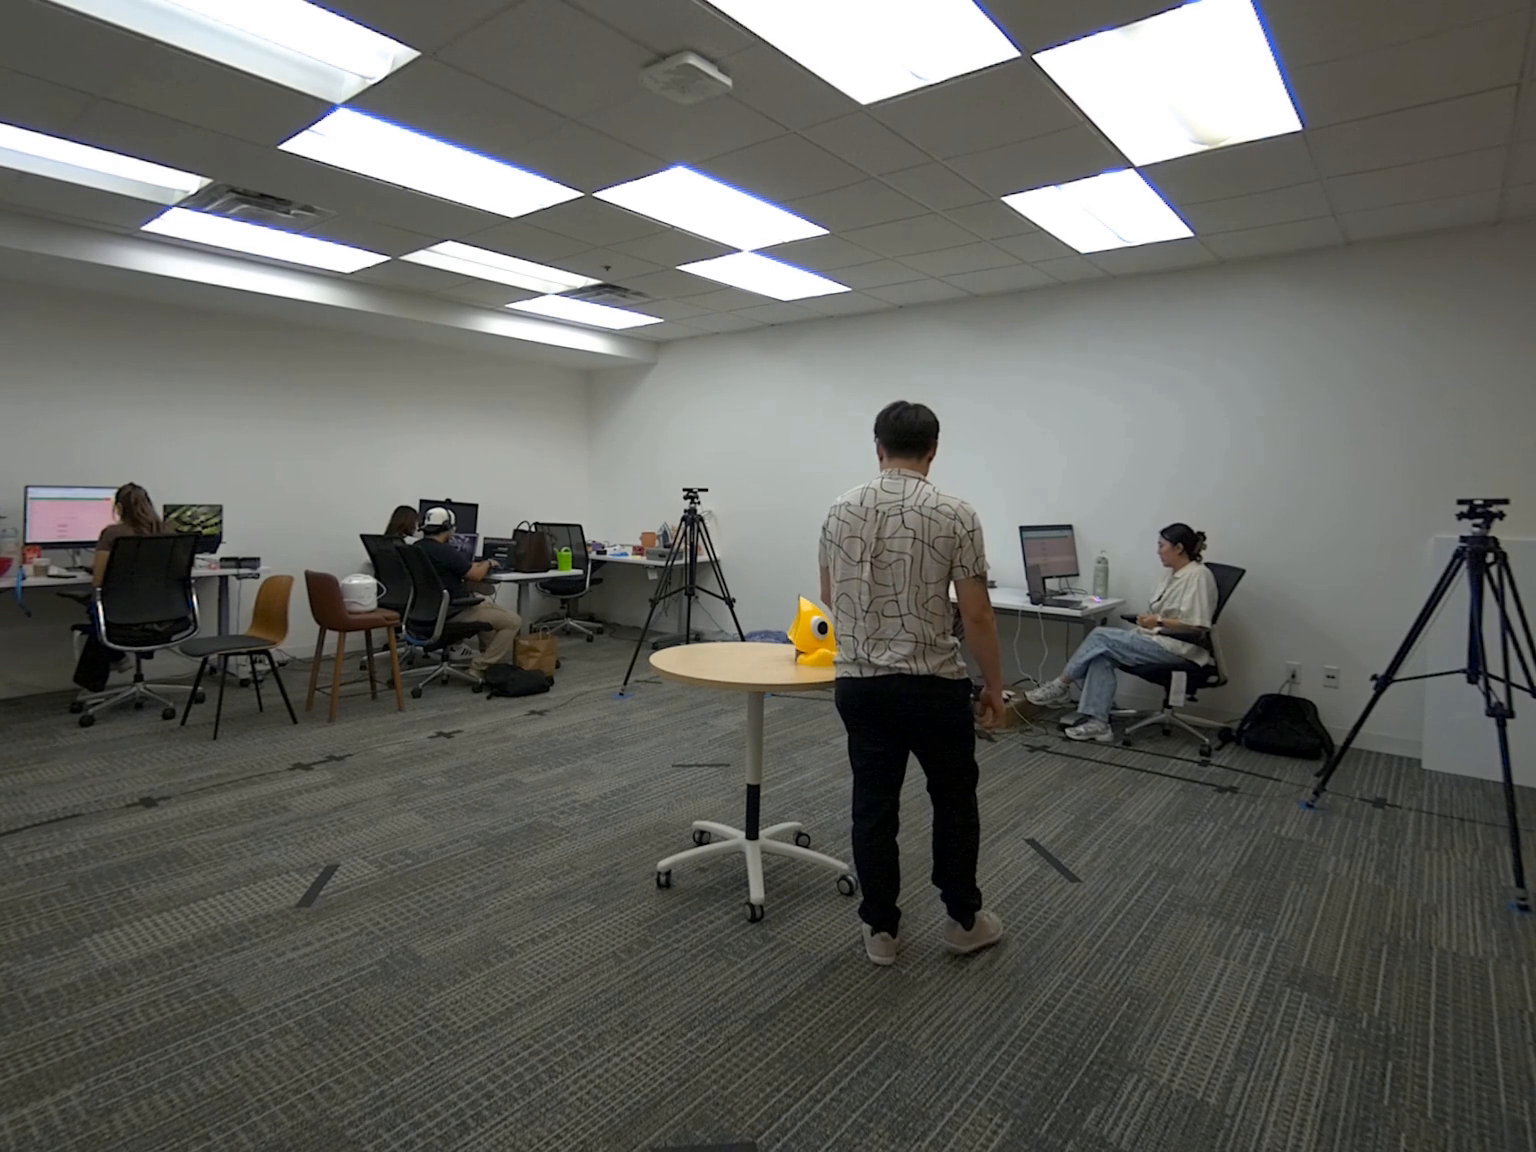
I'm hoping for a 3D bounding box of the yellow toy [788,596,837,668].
[{"bbox_3d":[0.162,0.187,3.040,0.192,0.230,0.206,0,4,-5],"label":"yellow toy"}]
